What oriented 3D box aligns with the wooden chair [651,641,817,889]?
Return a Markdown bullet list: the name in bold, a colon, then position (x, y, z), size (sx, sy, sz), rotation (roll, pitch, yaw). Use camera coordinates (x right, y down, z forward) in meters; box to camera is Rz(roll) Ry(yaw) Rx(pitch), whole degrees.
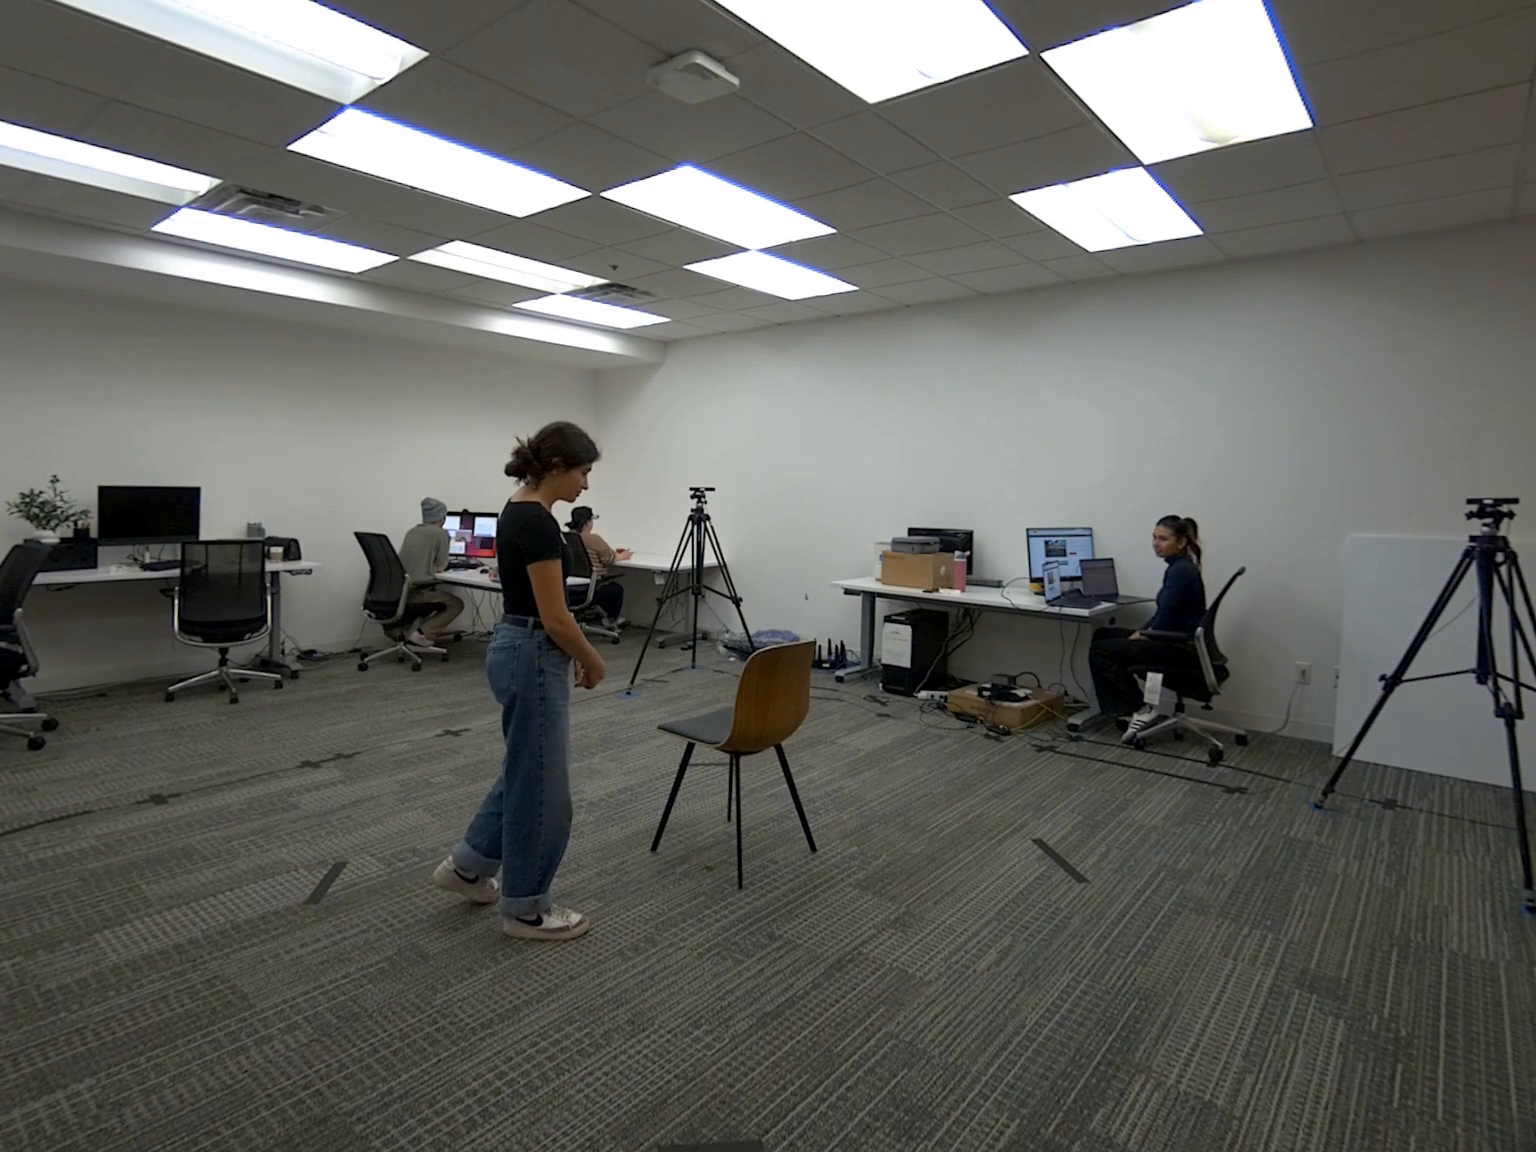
- **wooden chair**: position (-0.135, 0.629, 3.240), size (0.542, 0.873, 0.463), rotation (10, 8, 40)
